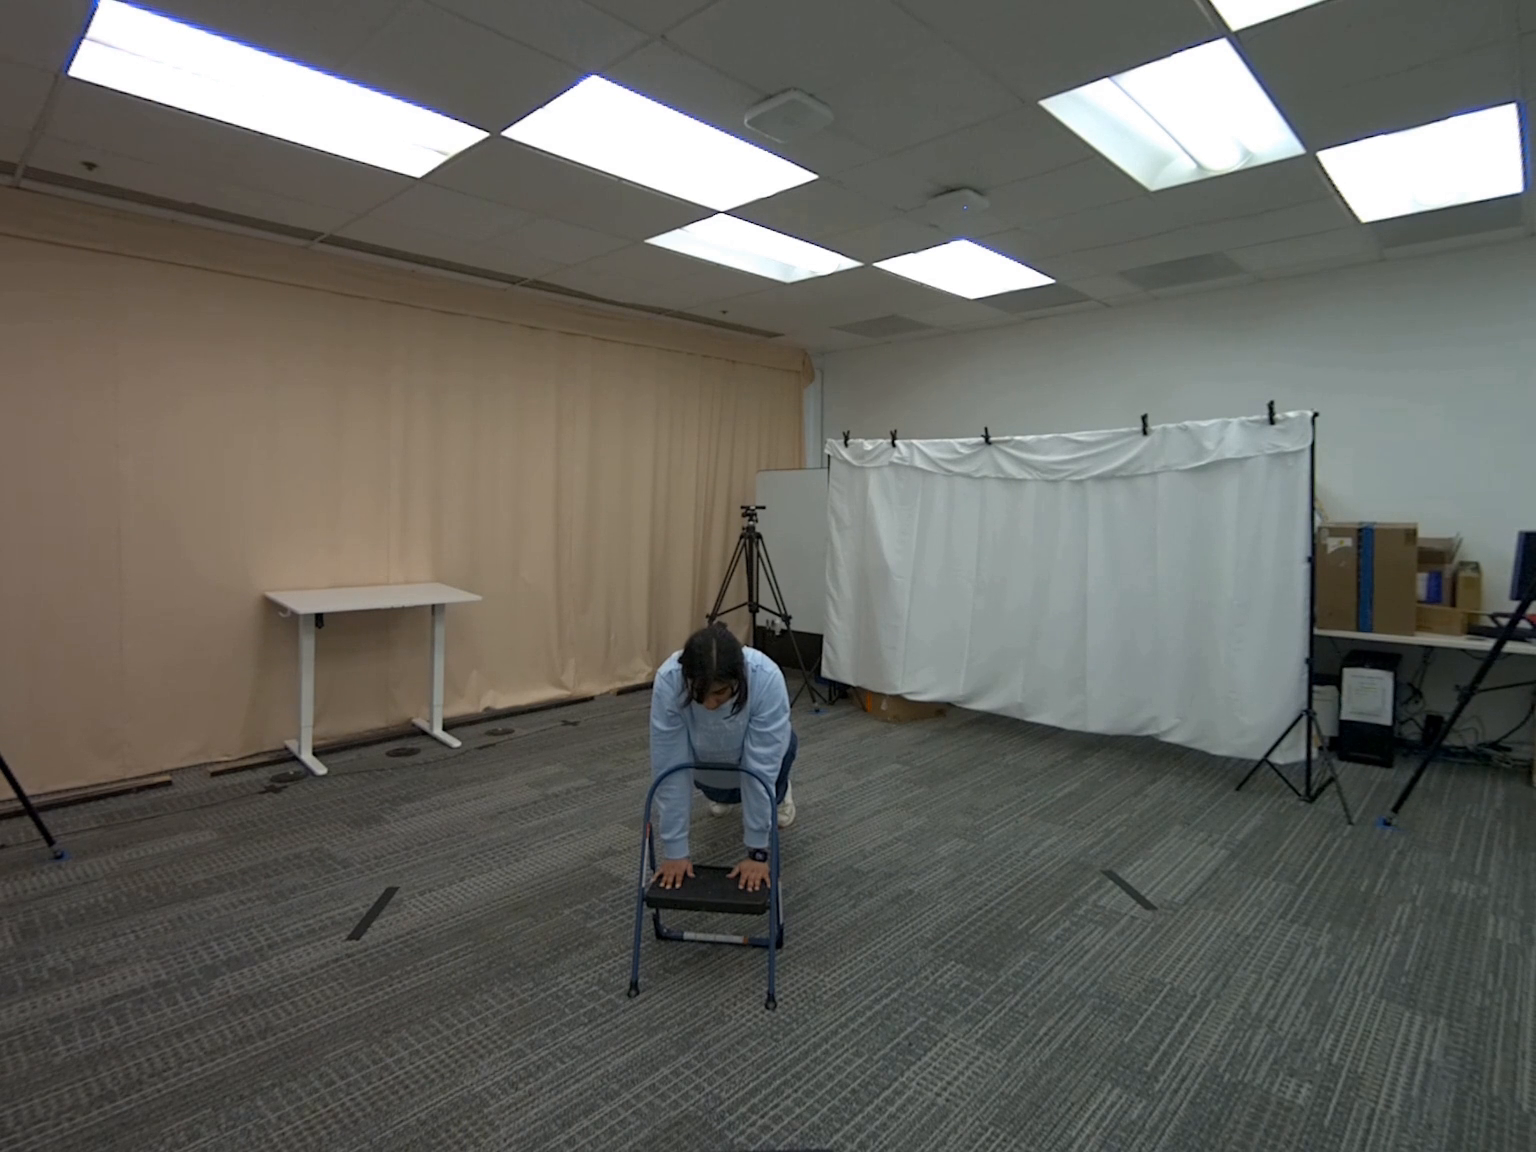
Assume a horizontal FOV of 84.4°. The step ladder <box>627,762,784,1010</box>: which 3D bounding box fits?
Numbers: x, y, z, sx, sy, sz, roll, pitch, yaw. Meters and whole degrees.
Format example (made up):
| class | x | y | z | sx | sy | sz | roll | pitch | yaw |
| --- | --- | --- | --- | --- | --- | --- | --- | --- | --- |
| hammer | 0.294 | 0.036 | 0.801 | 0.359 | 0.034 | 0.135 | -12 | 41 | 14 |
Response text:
| class | x | y | z | sx | sy | sz | roll | pitch | yaw |
| --- | --- | --- | --- | --- | --- | --- | --- | --- | --- |
| step ladder | -0.170 | 0.880 | 2.517 | 0.434 | 0.605 | 0.347 | 1 | 3 | 7 |
